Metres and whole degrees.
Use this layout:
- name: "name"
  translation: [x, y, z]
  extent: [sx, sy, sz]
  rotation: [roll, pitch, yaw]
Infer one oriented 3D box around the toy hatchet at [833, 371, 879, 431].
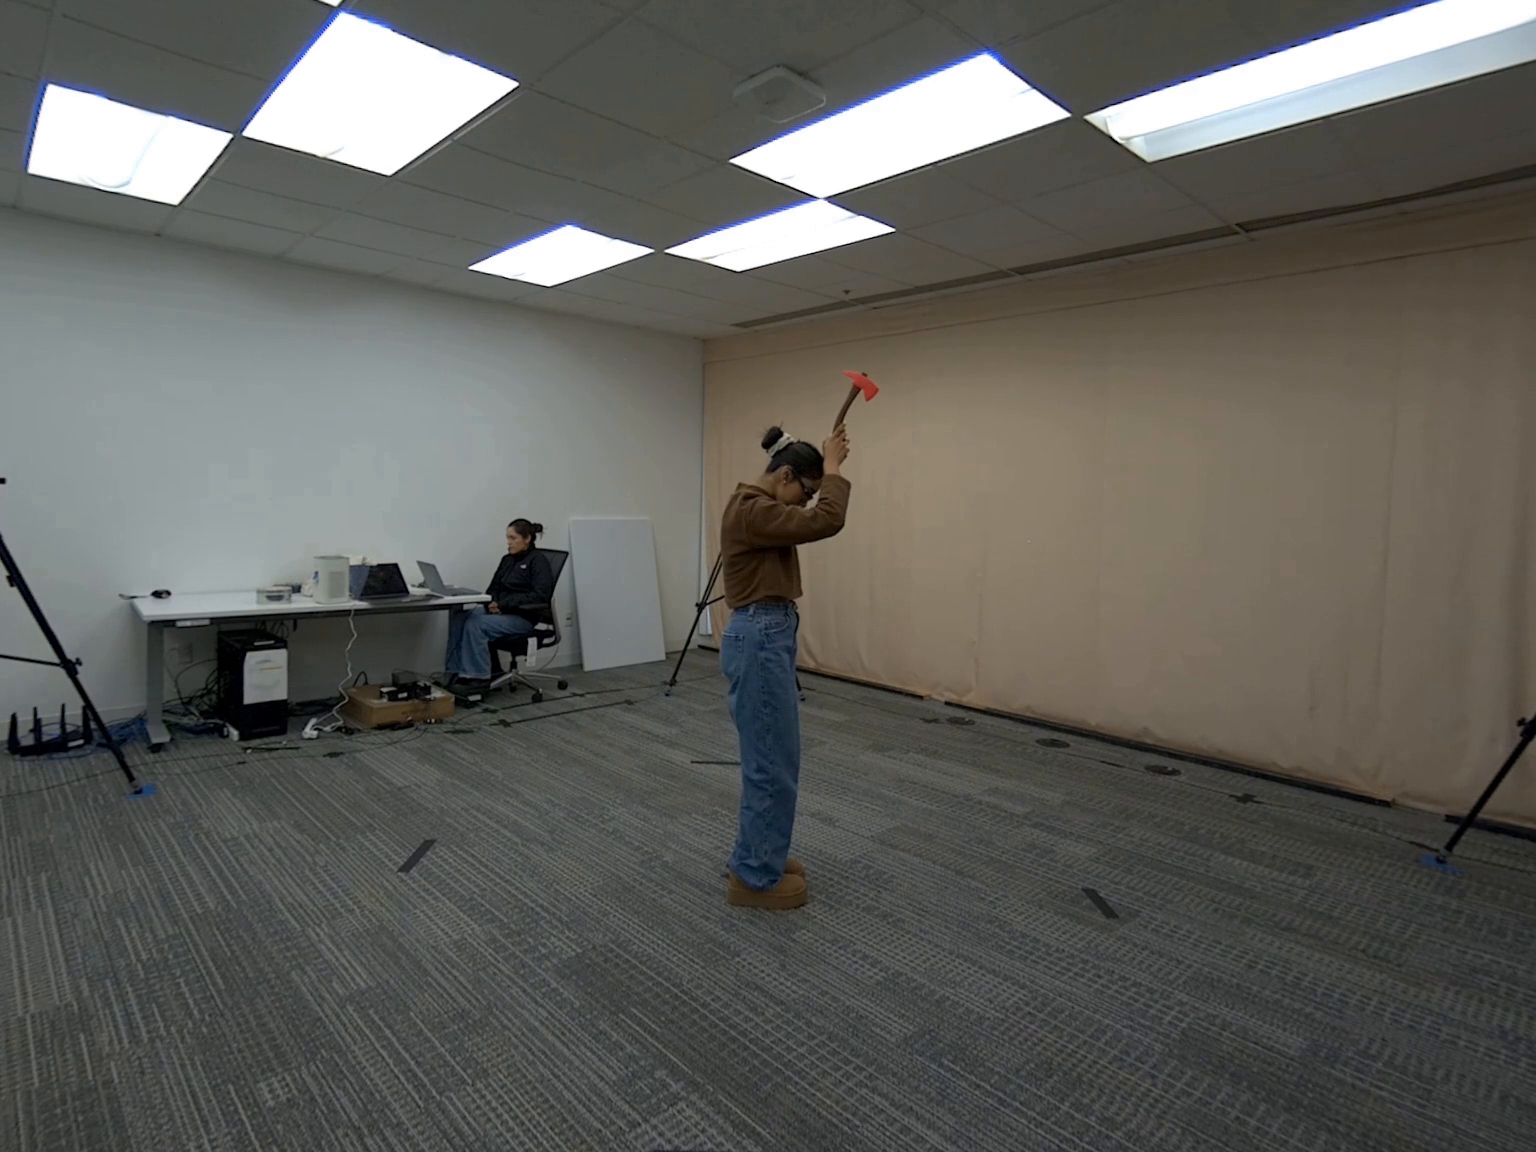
- name: "toy hatchet"
  translation: [0.285, -0.566, 2.882]
  extent: [0.131, 0.269, 0.030]
  rotation: [11, 6, 0]
